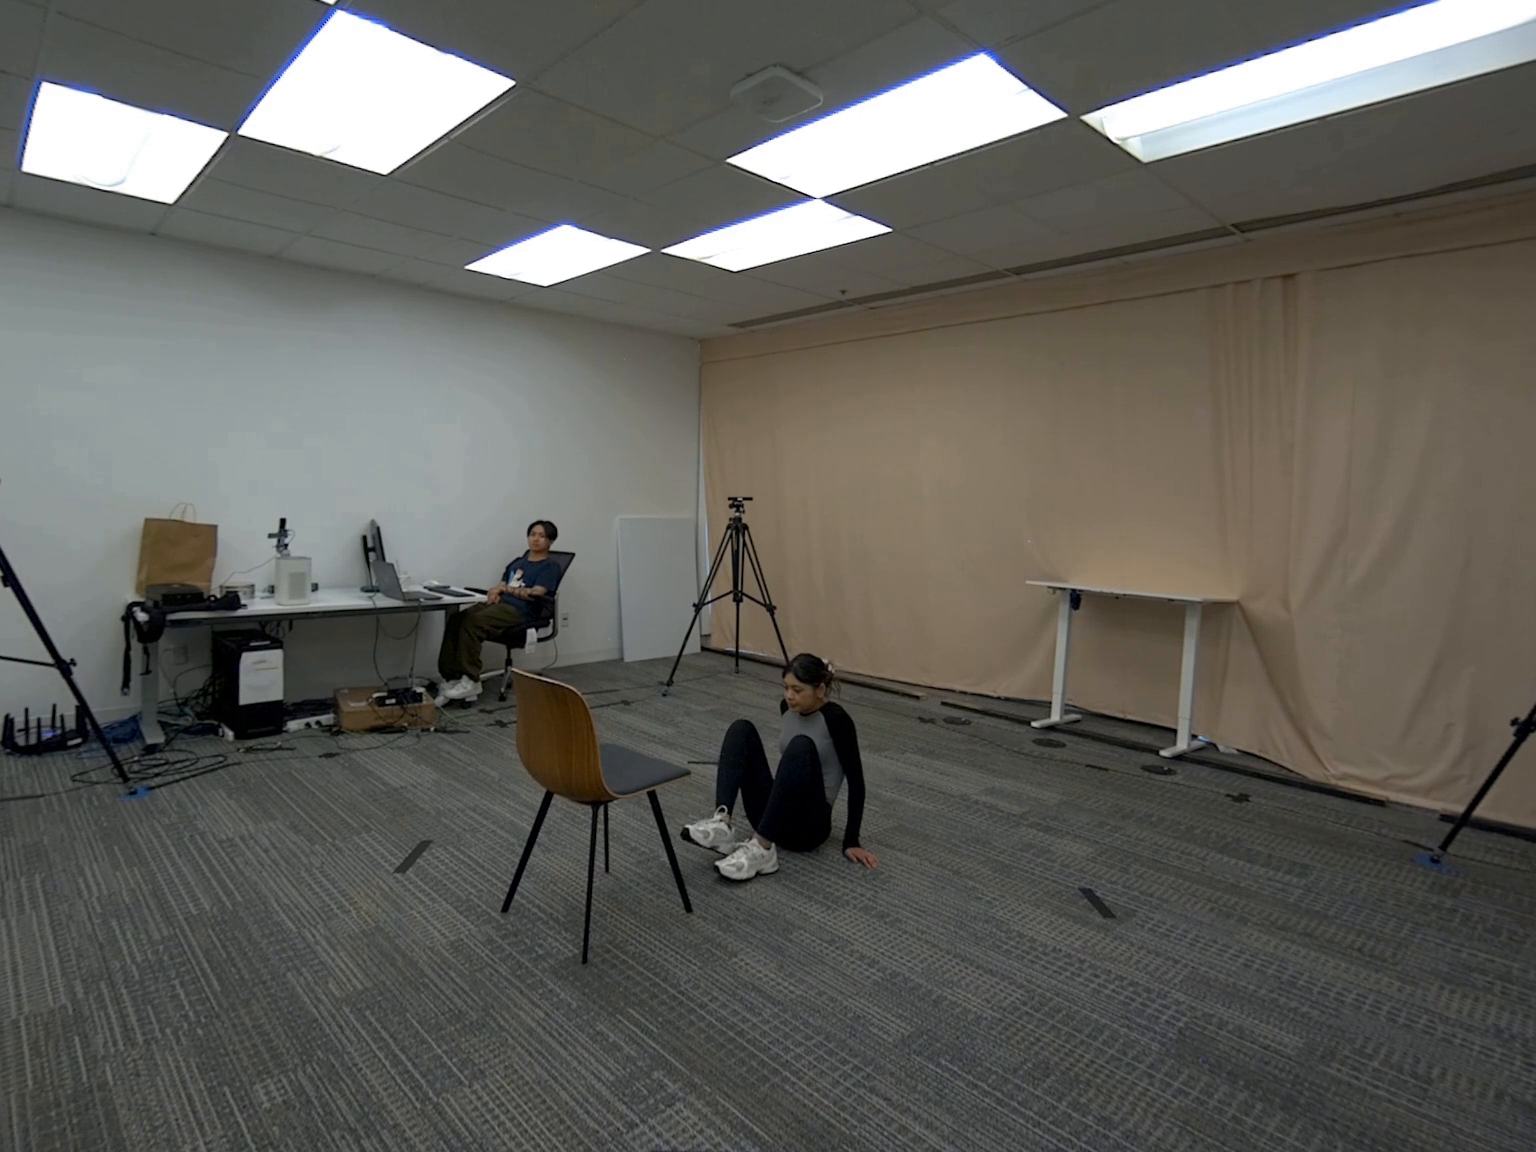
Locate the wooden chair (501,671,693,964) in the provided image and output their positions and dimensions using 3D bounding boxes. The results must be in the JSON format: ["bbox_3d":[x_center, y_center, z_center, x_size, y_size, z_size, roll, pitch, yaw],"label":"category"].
[{"bbox_3d":[-0.558,0.699,2.784,0.490,0.873,0.513,4,9,41],"label":"wooden chair"}]
